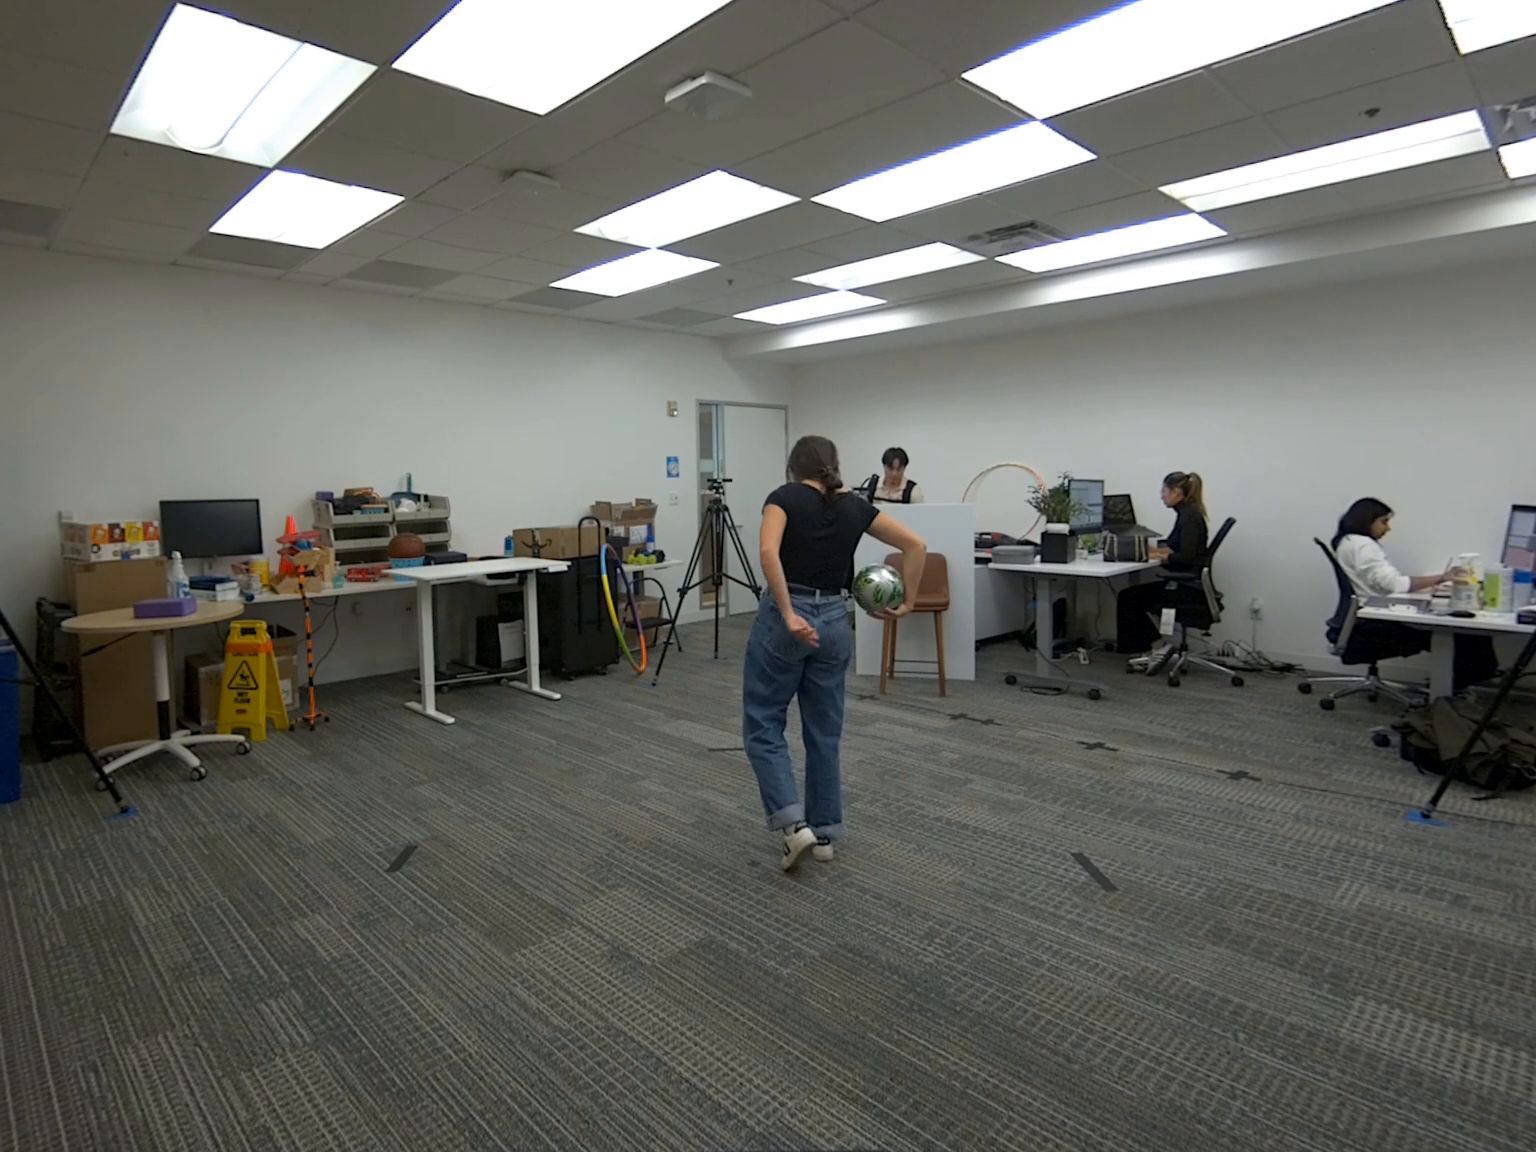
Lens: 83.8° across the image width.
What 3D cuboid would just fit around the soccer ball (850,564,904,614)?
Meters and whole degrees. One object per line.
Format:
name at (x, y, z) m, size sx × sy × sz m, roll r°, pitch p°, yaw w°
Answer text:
soccer ball at (0.387, 0.051, 3.147) m, size 0.187 × 0.187 × 0.188 m, roll -1°, pitch 5°, yaw -2°
